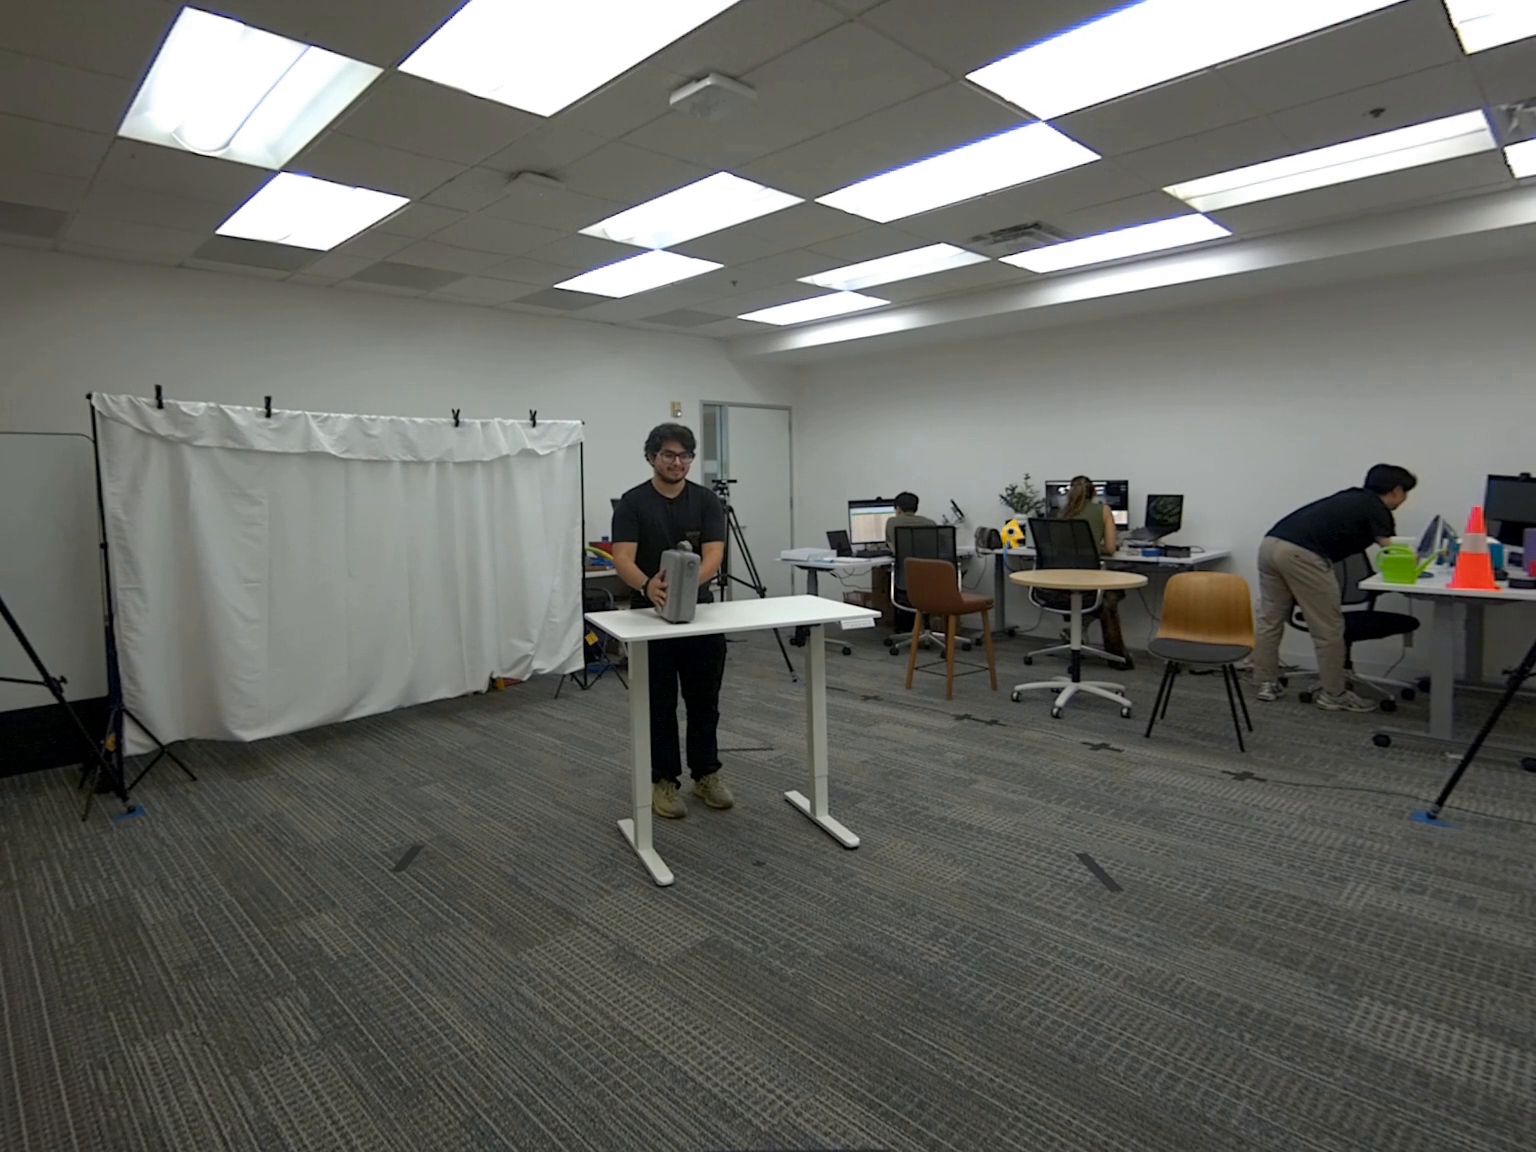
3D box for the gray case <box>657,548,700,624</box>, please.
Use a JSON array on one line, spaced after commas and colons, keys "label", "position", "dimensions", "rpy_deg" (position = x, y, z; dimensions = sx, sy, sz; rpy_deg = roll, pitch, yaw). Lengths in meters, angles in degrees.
[{"label": "gray case", "position": [-0.343, 0.032, 3.185], "dimensions": [0.103, 0.260, 0.260], "rpy_deg": [4, 2, -11]}]
